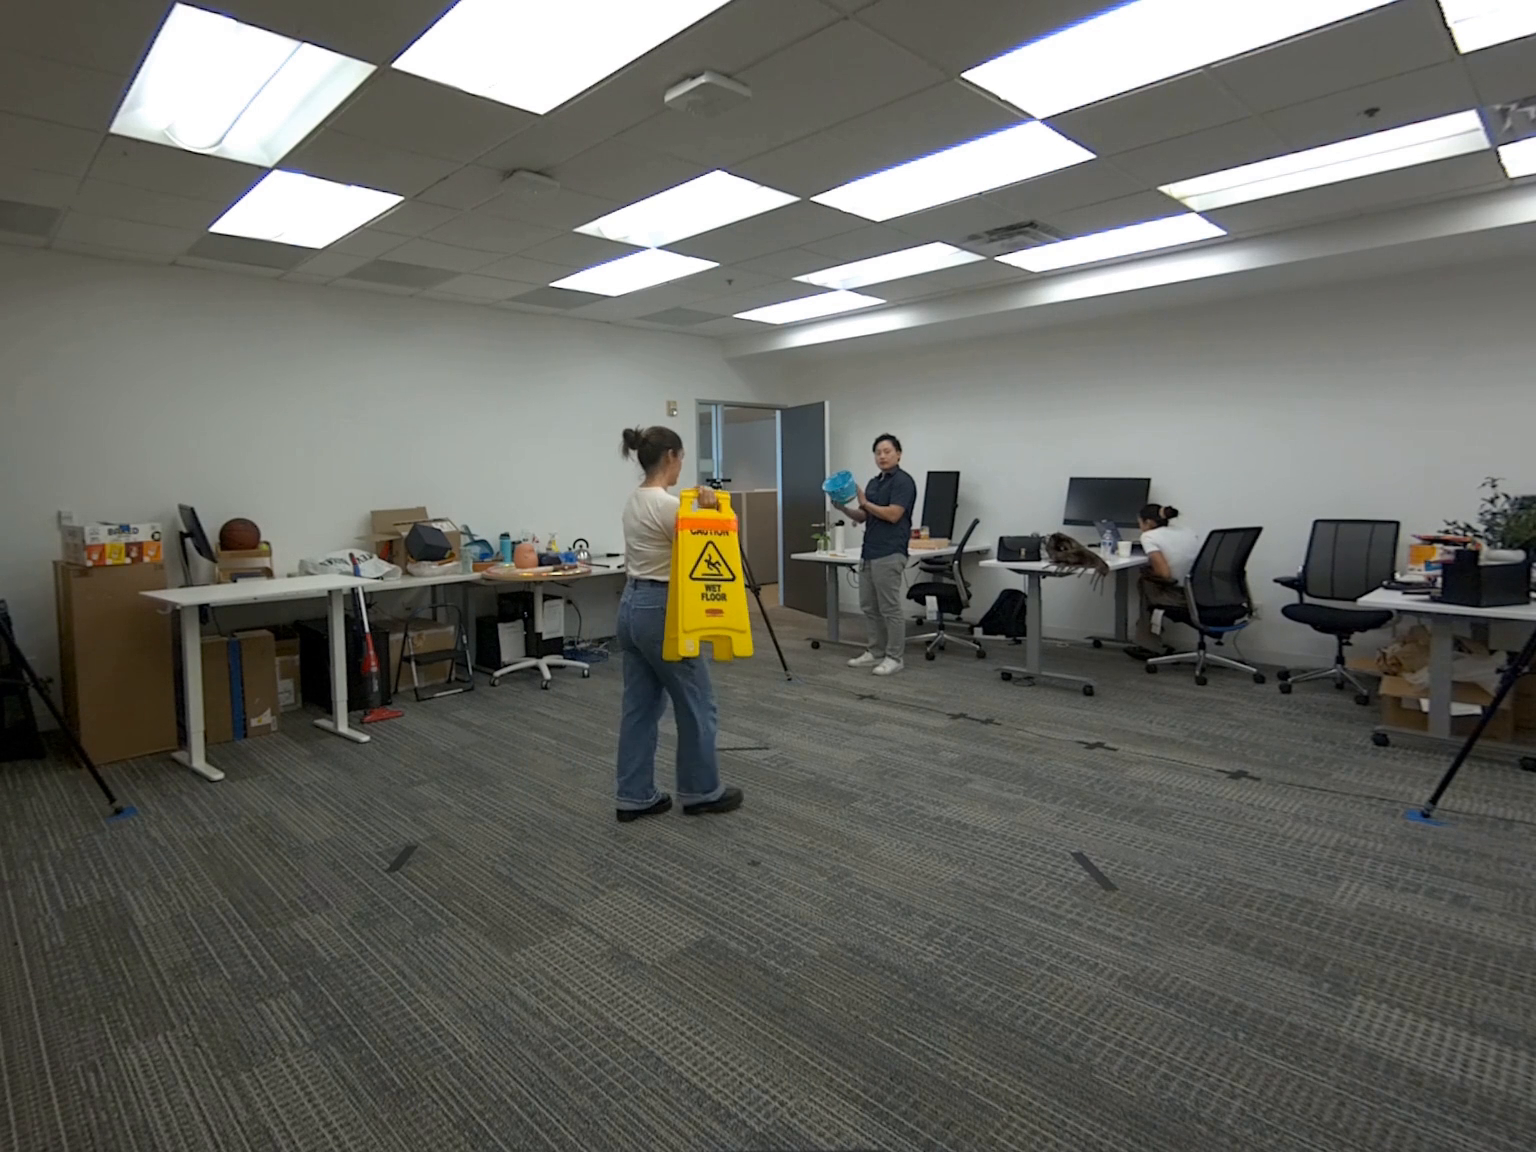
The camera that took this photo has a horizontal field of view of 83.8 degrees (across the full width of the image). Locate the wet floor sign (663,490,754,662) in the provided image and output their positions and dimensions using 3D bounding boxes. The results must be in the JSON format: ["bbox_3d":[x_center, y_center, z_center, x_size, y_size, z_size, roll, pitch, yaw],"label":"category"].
[{"bbox_3d":[-0.234,-0.011,3.258,0.277,0.653,0.291,2,-11,-18],"label":"wet floor sign"}]
